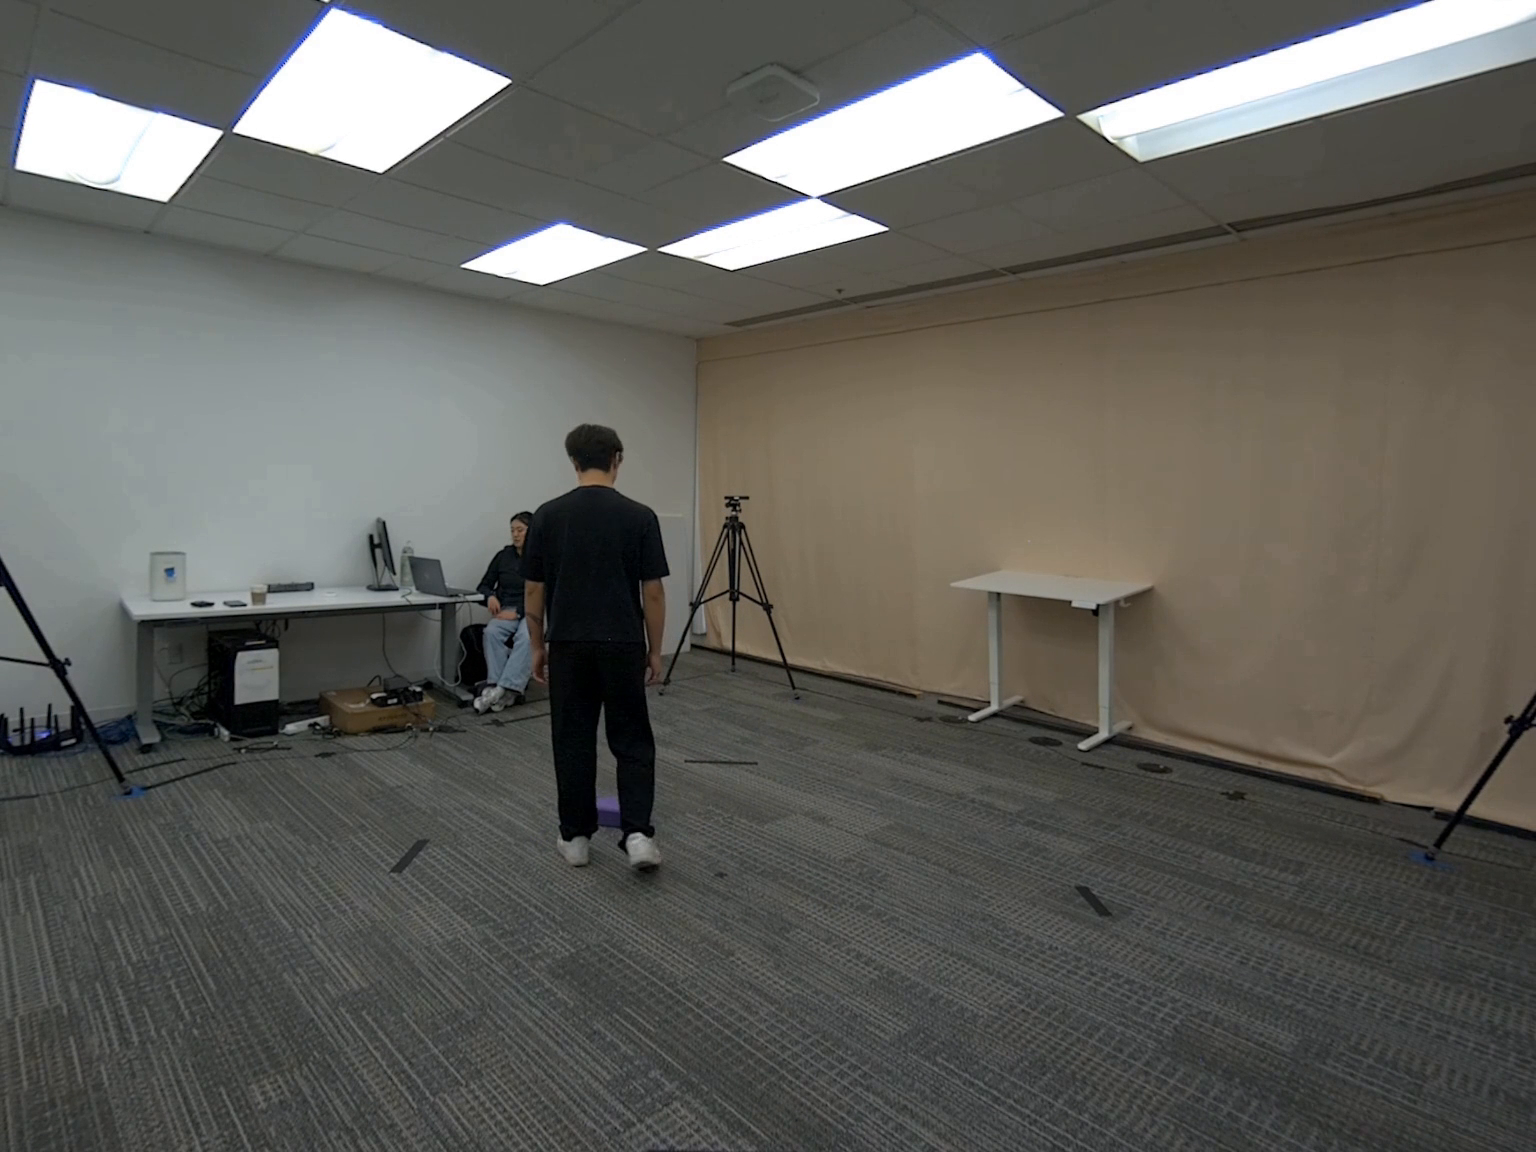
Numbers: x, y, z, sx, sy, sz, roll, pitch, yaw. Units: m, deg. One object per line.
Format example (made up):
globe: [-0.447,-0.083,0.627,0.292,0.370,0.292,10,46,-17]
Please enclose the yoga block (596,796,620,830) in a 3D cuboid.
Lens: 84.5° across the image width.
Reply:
yoga block: [-0.637,1.011,3.593,0.232,0.076,0.148,4,5,13]
